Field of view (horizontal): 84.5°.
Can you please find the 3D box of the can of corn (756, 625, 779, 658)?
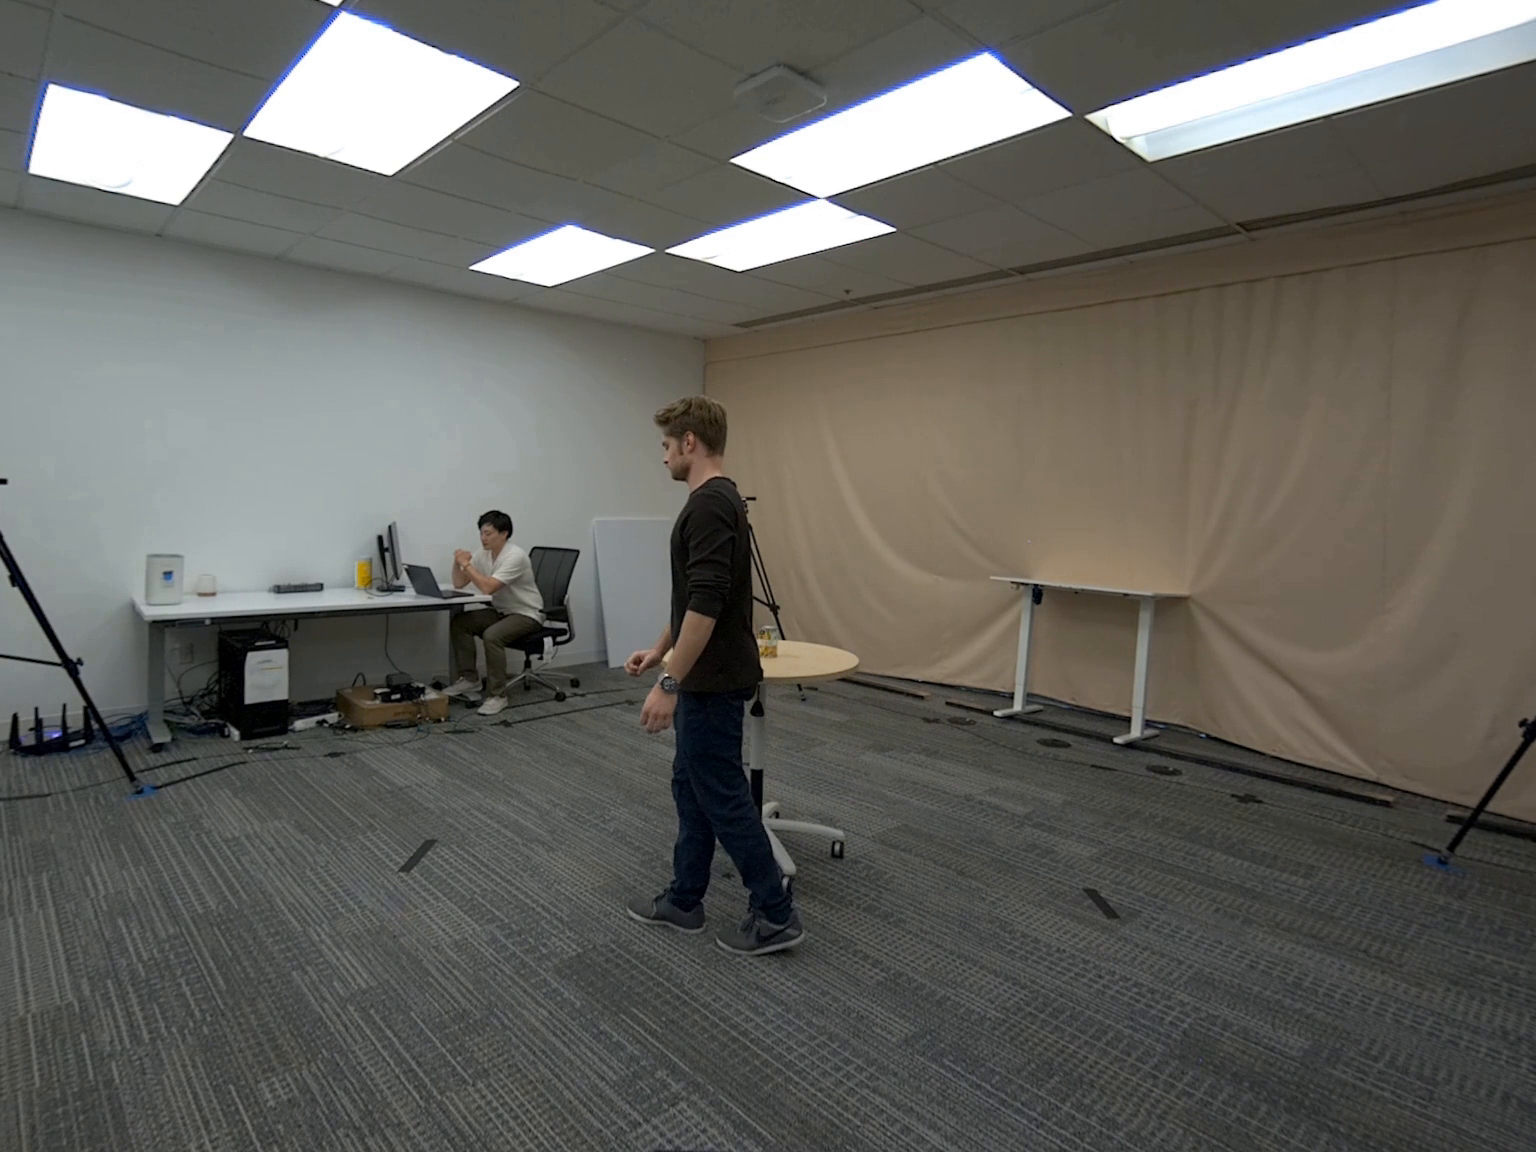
[{"bbox_3d":[-0.001,0.259,3.262,0.074,0.111,0.074,2,4,-1],"label":"can of corn"}]
